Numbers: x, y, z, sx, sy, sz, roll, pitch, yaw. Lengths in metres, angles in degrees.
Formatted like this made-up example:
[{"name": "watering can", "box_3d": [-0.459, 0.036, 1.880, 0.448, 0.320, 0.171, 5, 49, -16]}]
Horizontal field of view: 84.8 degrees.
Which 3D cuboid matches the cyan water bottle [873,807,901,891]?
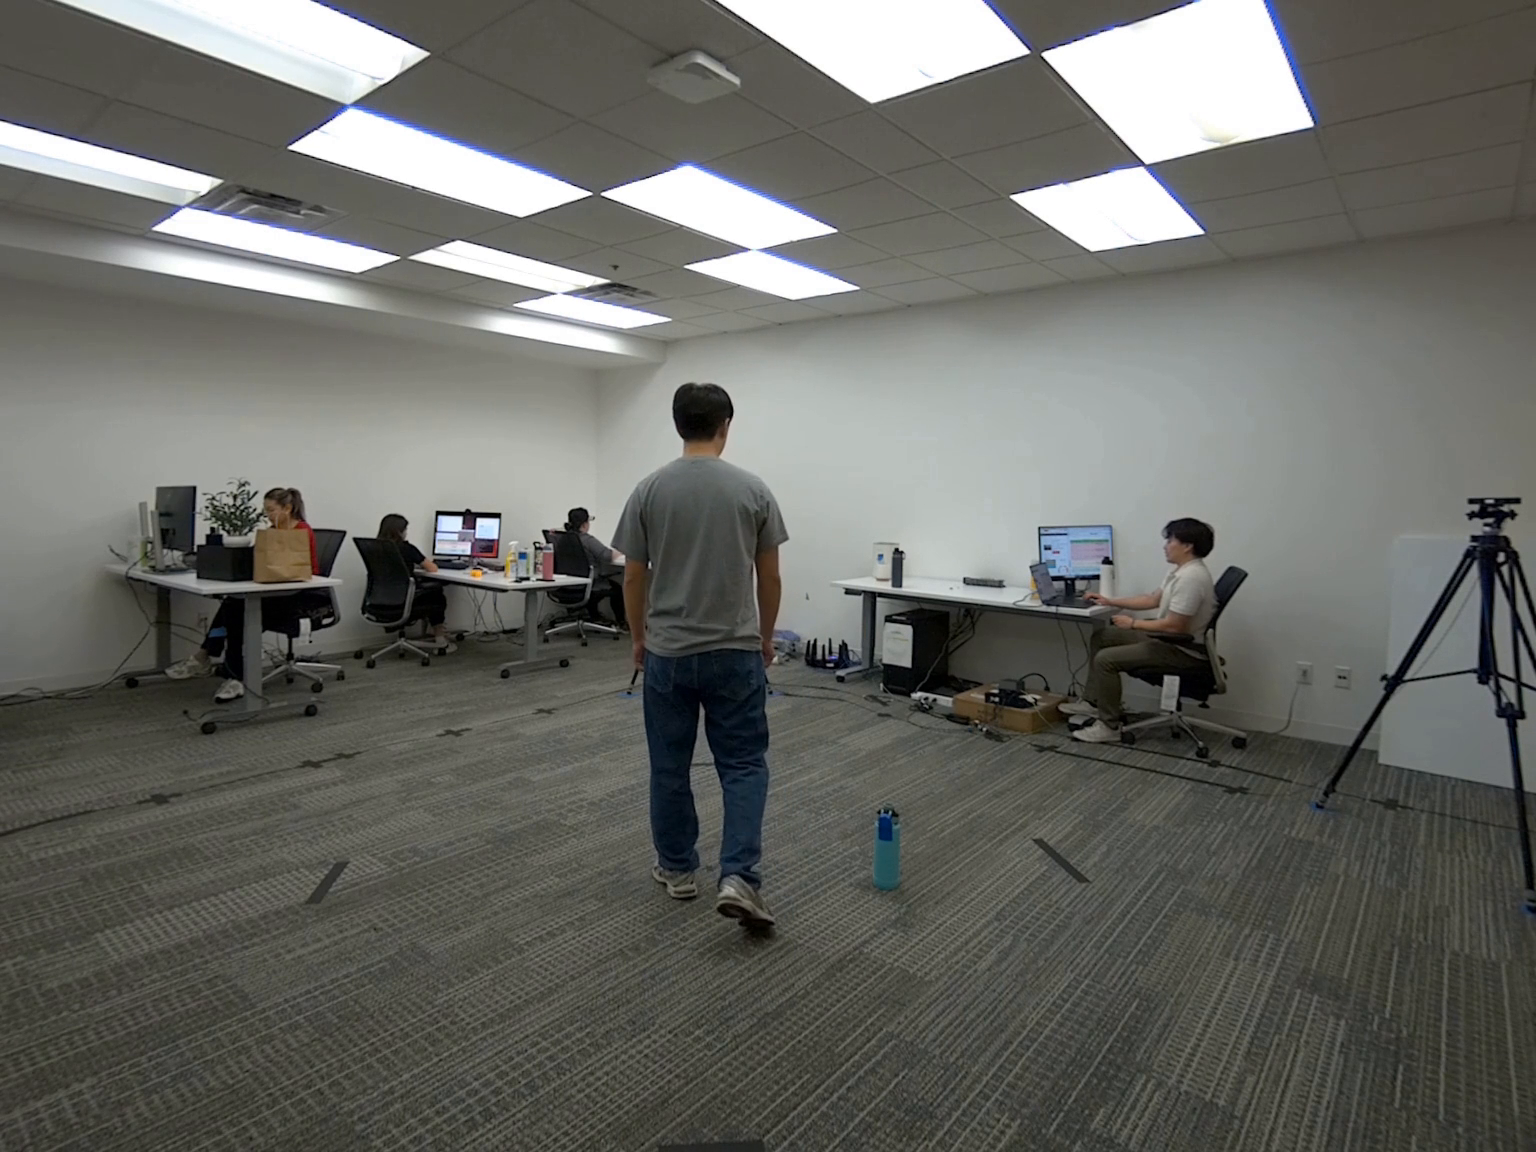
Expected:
[{"name": "cyan water bottle", "box_3d": [0.417, 0.956, 3.002, 0.092, 0.282, 0.093, -1, 6, -2]}]
